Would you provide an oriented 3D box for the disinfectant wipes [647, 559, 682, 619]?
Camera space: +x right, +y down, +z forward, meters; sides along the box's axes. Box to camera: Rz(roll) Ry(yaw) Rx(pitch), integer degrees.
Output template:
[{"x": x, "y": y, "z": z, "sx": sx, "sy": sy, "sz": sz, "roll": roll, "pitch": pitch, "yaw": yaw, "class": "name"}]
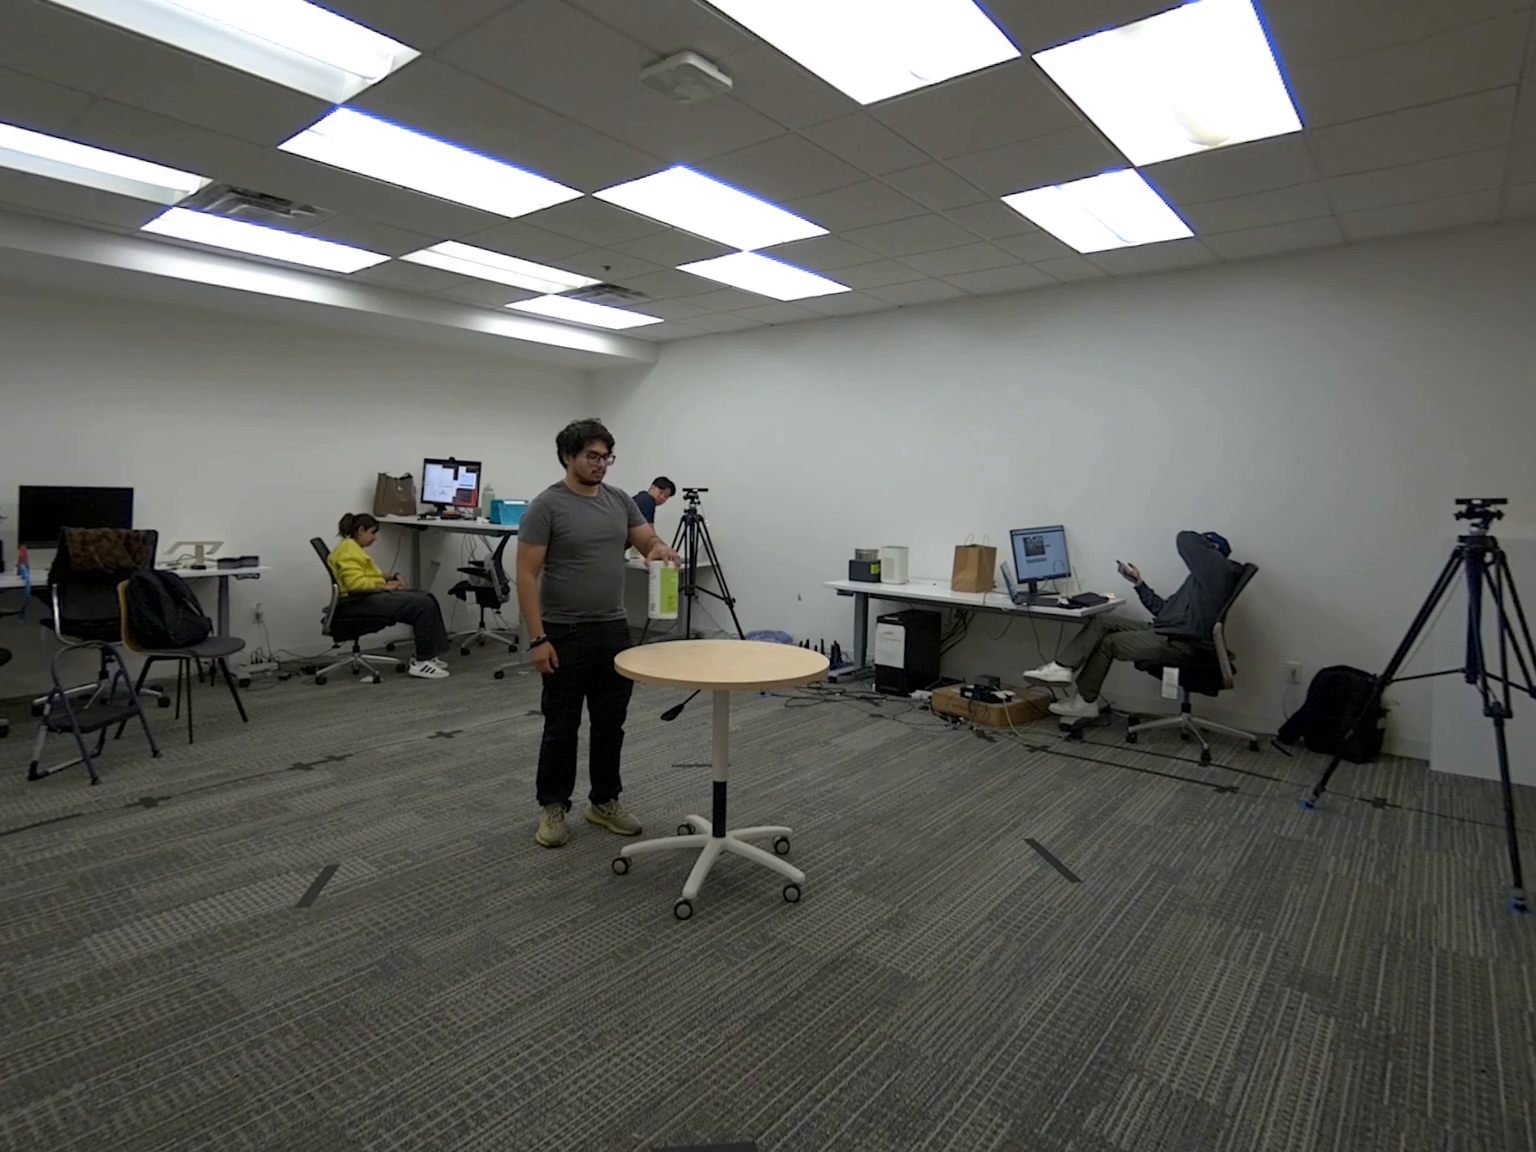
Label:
[{"x": -0.395, "y": 0.048, "z": 3.195, "sx": 0.118, "sy": 0.218, "sz": 0.117, "roll": 1, "pitch": -3, "yaw": -2, "class": "disinfectant wipes"}]
